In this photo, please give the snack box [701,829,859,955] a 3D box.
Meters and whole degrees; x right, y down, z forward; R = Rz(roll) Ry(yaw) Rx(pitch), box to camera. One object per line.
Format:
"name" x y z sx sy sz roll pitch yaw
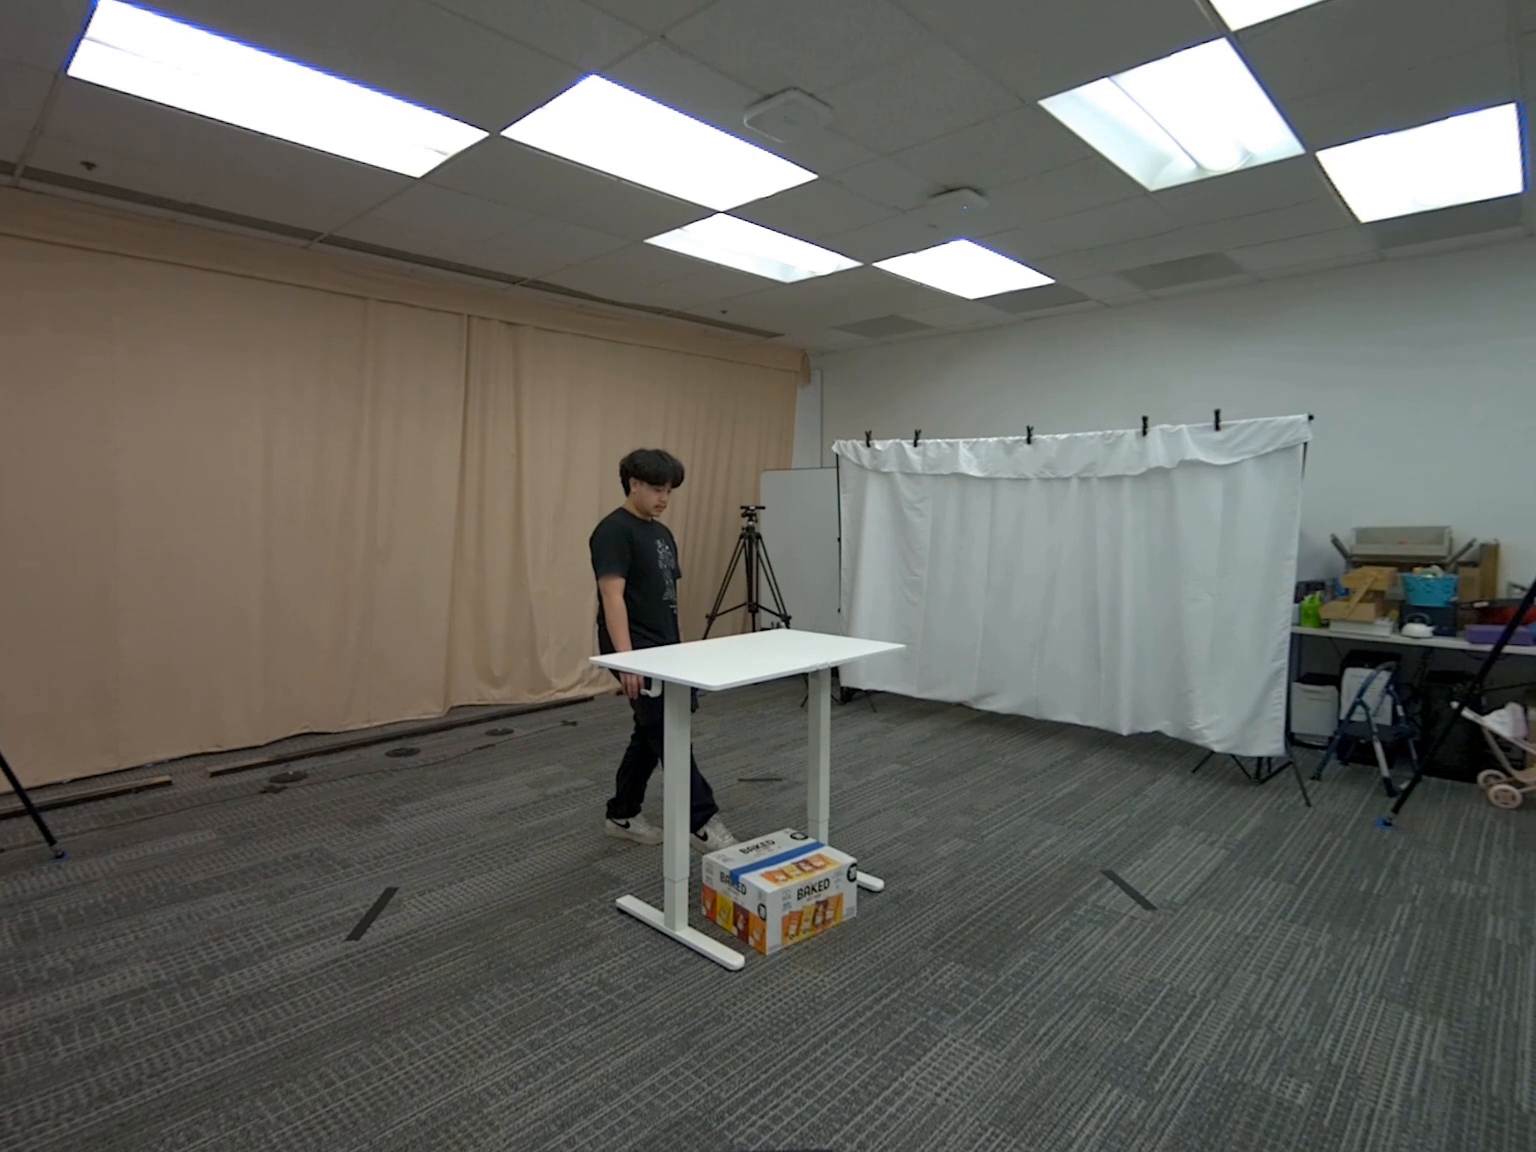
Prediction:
"snack box" 0.040 1.054 2.850 0.393 0.205 0.352 -4 6 -40
